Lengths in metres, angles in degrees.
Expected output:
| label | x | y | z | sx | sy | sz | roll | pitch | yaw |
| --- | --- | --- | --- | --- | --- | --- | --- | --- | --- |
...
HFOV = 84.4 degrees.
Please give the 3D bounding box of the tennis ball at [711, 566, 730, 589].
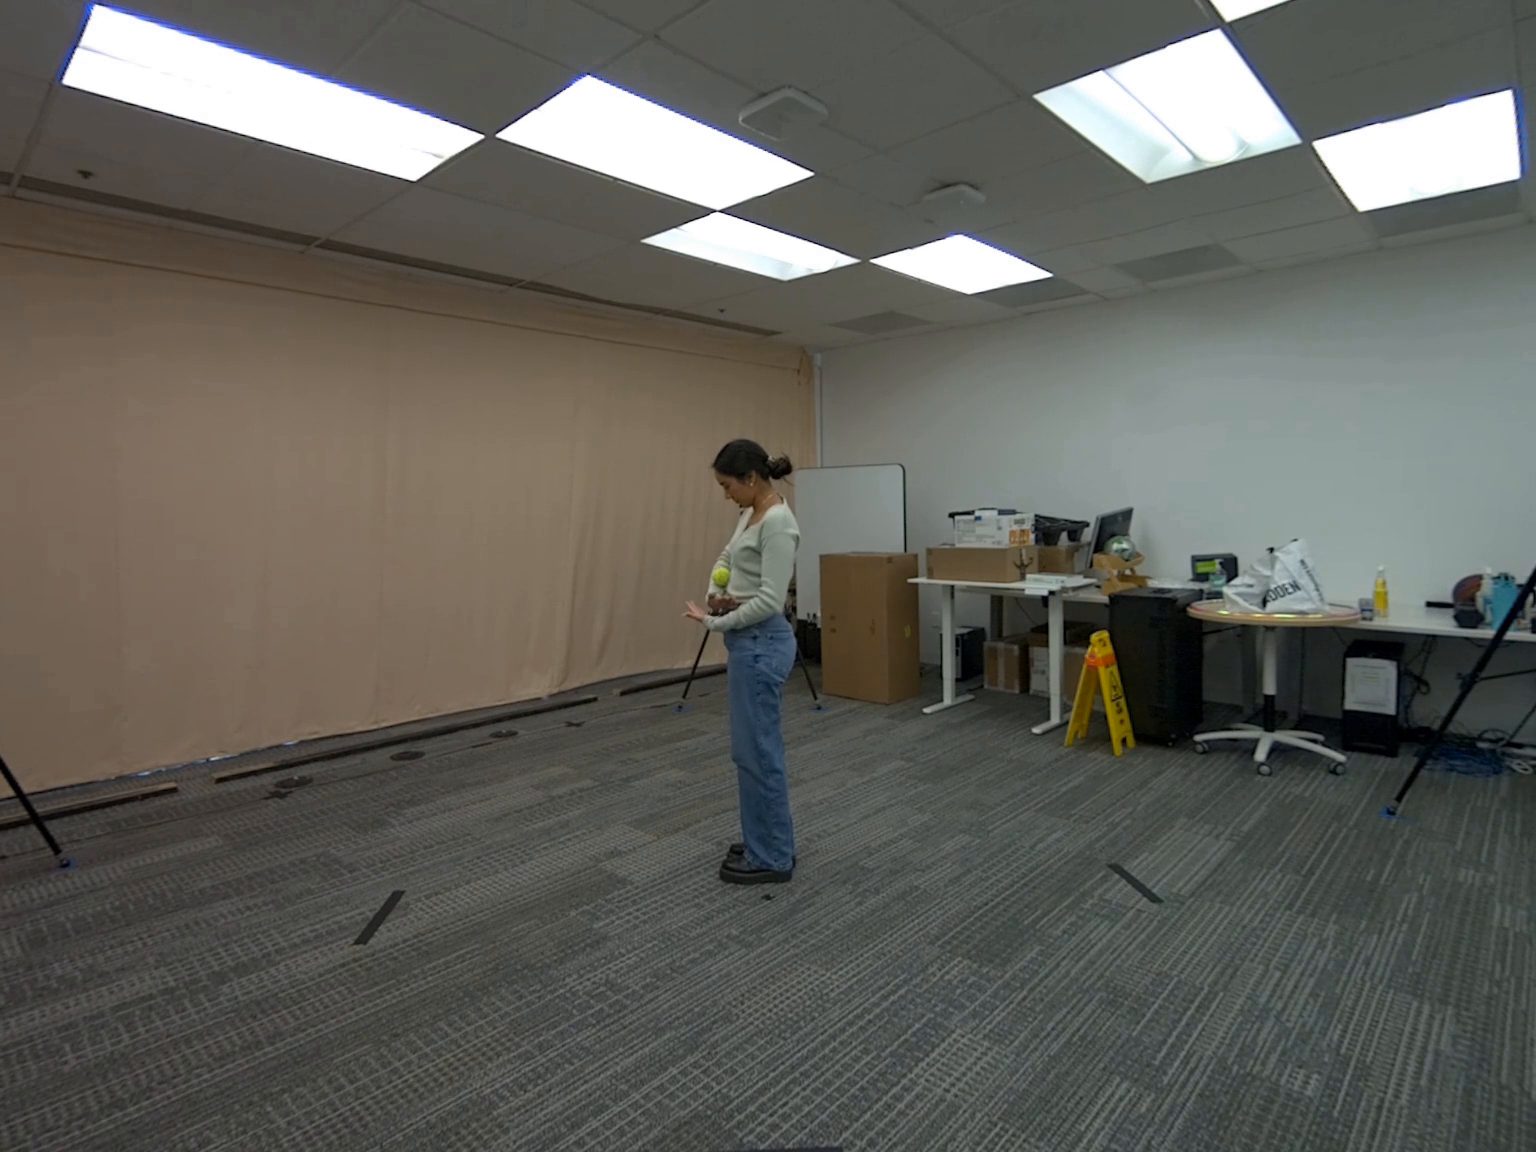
| label | x | y | z | sx | sy | sz | roll | pitch | yaw |
| --- | --- | --- | --- | --- | --- | --- | --- | --- | --- |
| tennis ball | -0.158 | -0.005 | 3.199 | 0.066 | 0.066 | 0.067 | -1 | 4 | -2 |
